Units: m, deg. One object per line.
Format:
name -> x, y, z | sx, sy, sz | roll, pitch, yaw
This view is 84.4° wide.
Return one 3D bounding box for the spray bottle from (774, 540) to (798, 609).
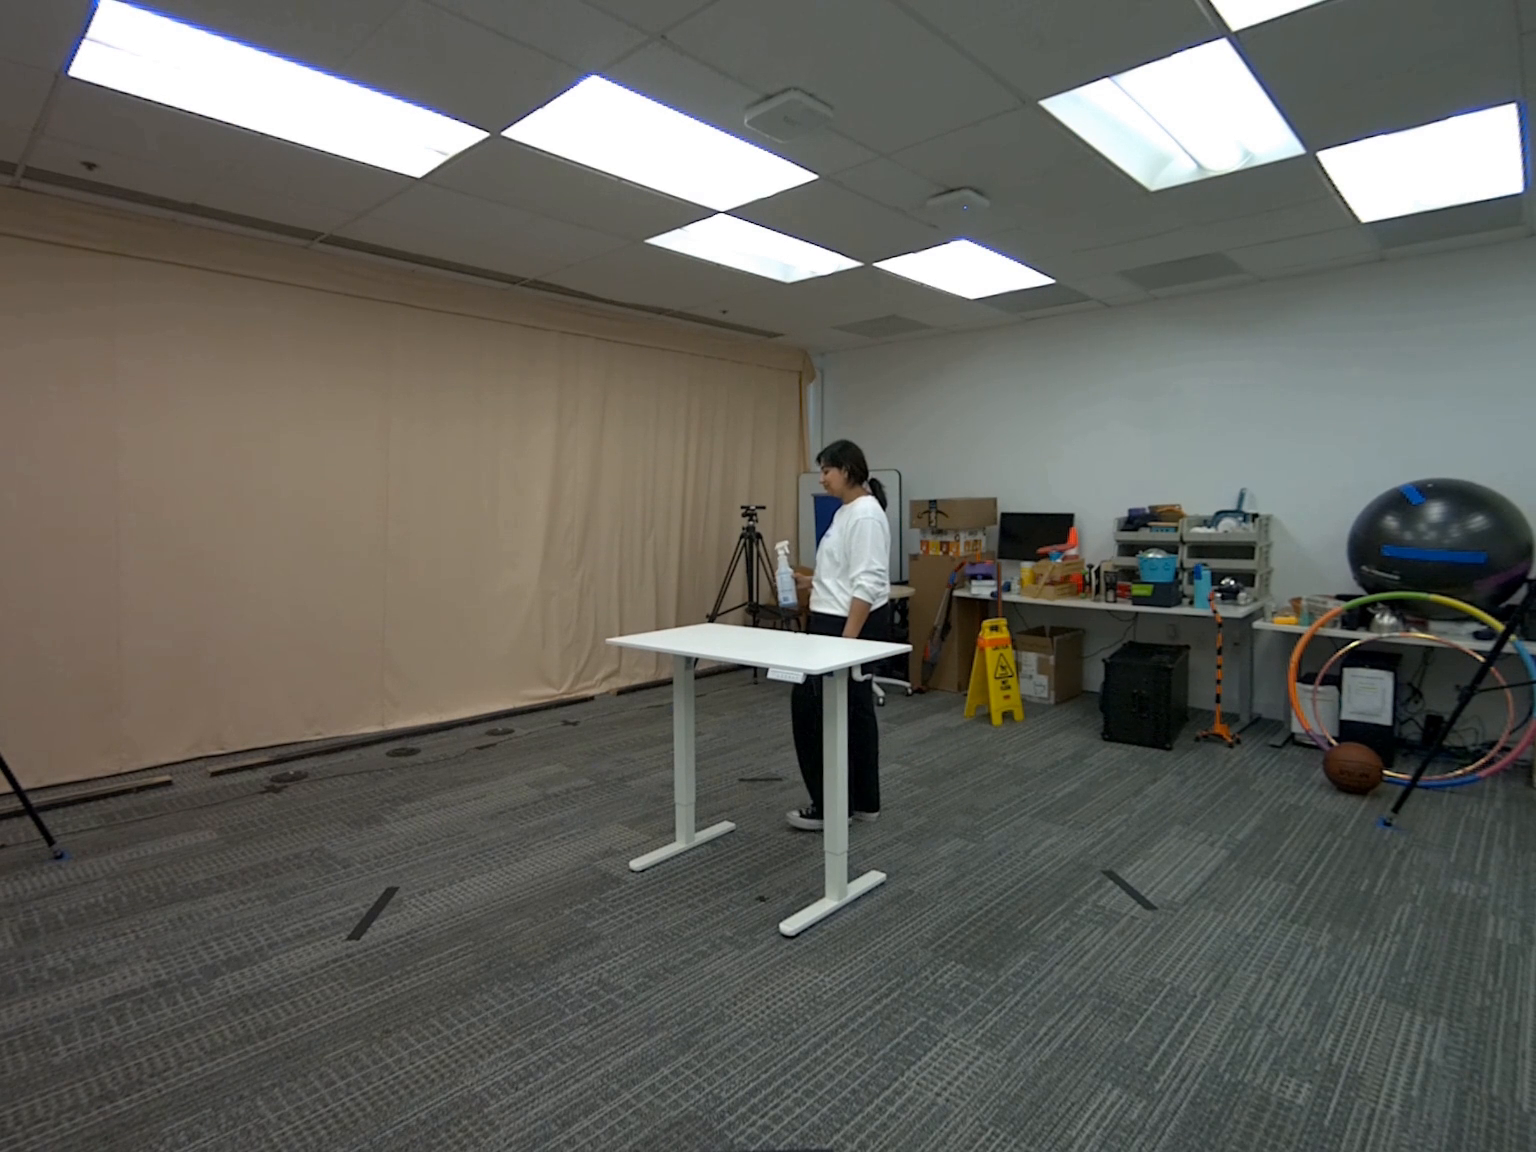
spray bottle -> 0.085, -0.005, 3.873 | 0.086, 0.298, 0.091 | -6, -2, -13
